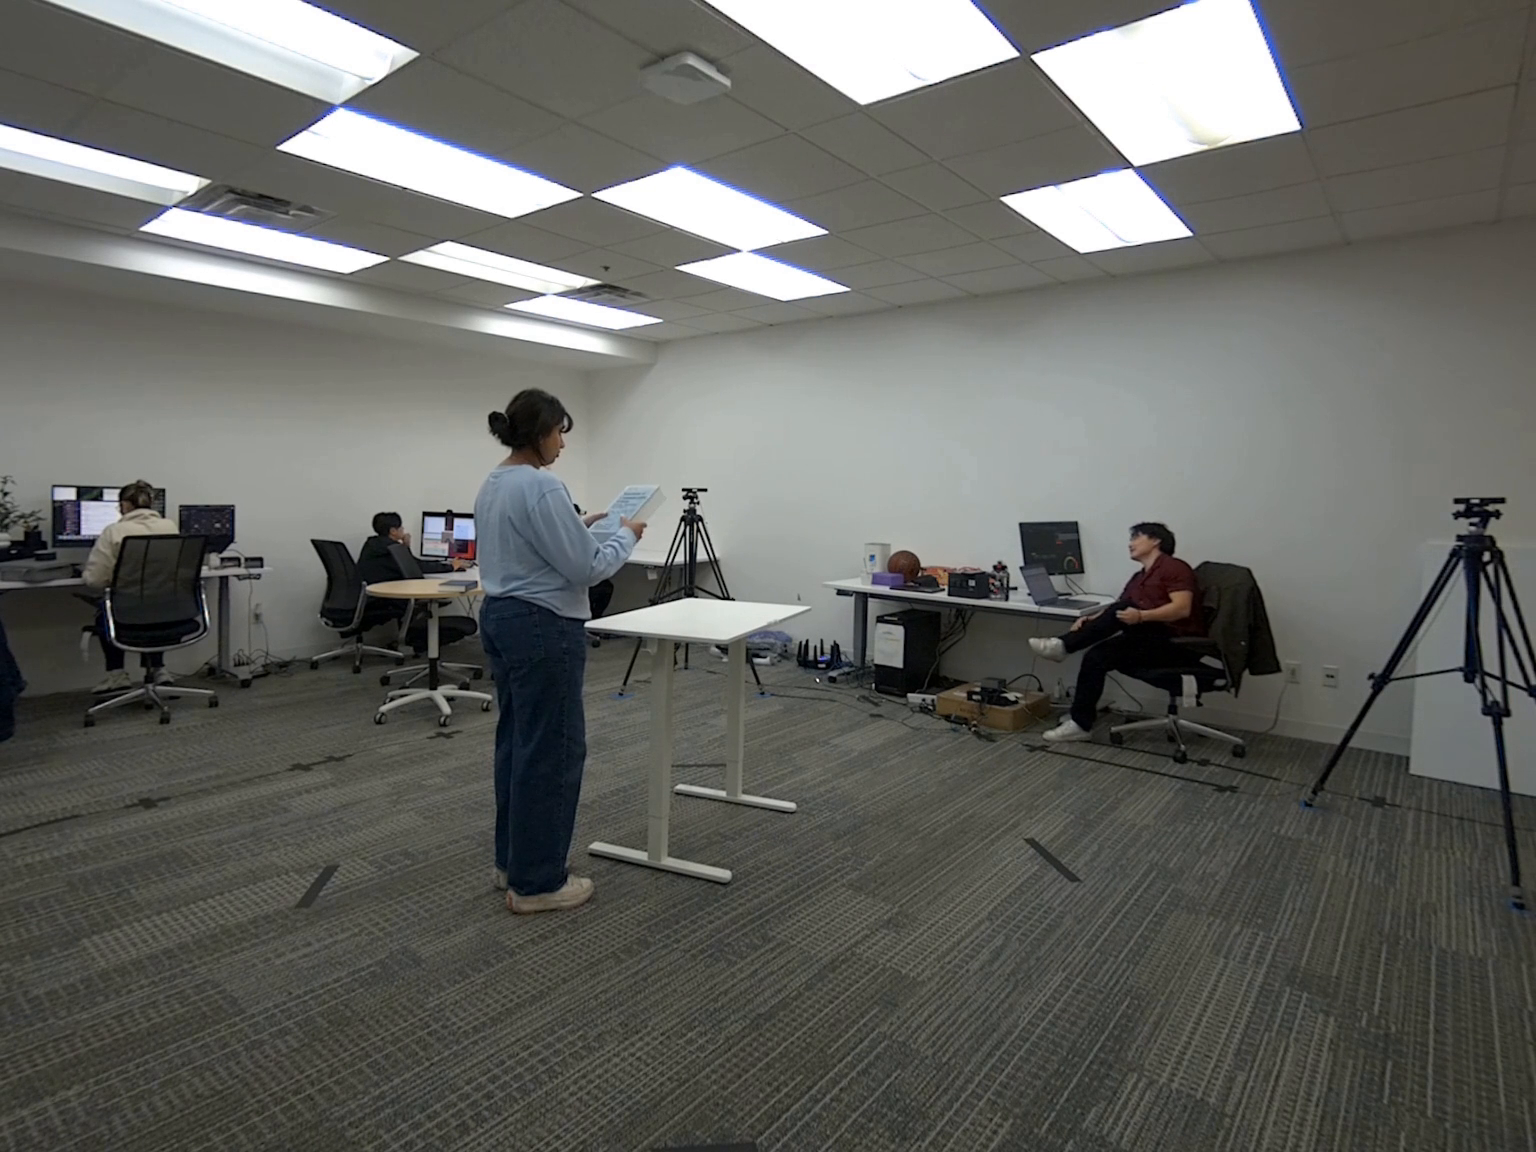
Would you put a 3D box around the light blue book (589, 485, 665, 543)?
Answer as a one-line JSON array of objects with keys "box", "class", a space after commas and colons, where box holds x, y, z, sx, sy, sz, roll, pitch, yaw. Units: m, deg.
[{"box": [-0.520, -0.229, 3.072, 0.198, 0.057, 0.262, 3, 44, 41], "class": "light blue book"}]
